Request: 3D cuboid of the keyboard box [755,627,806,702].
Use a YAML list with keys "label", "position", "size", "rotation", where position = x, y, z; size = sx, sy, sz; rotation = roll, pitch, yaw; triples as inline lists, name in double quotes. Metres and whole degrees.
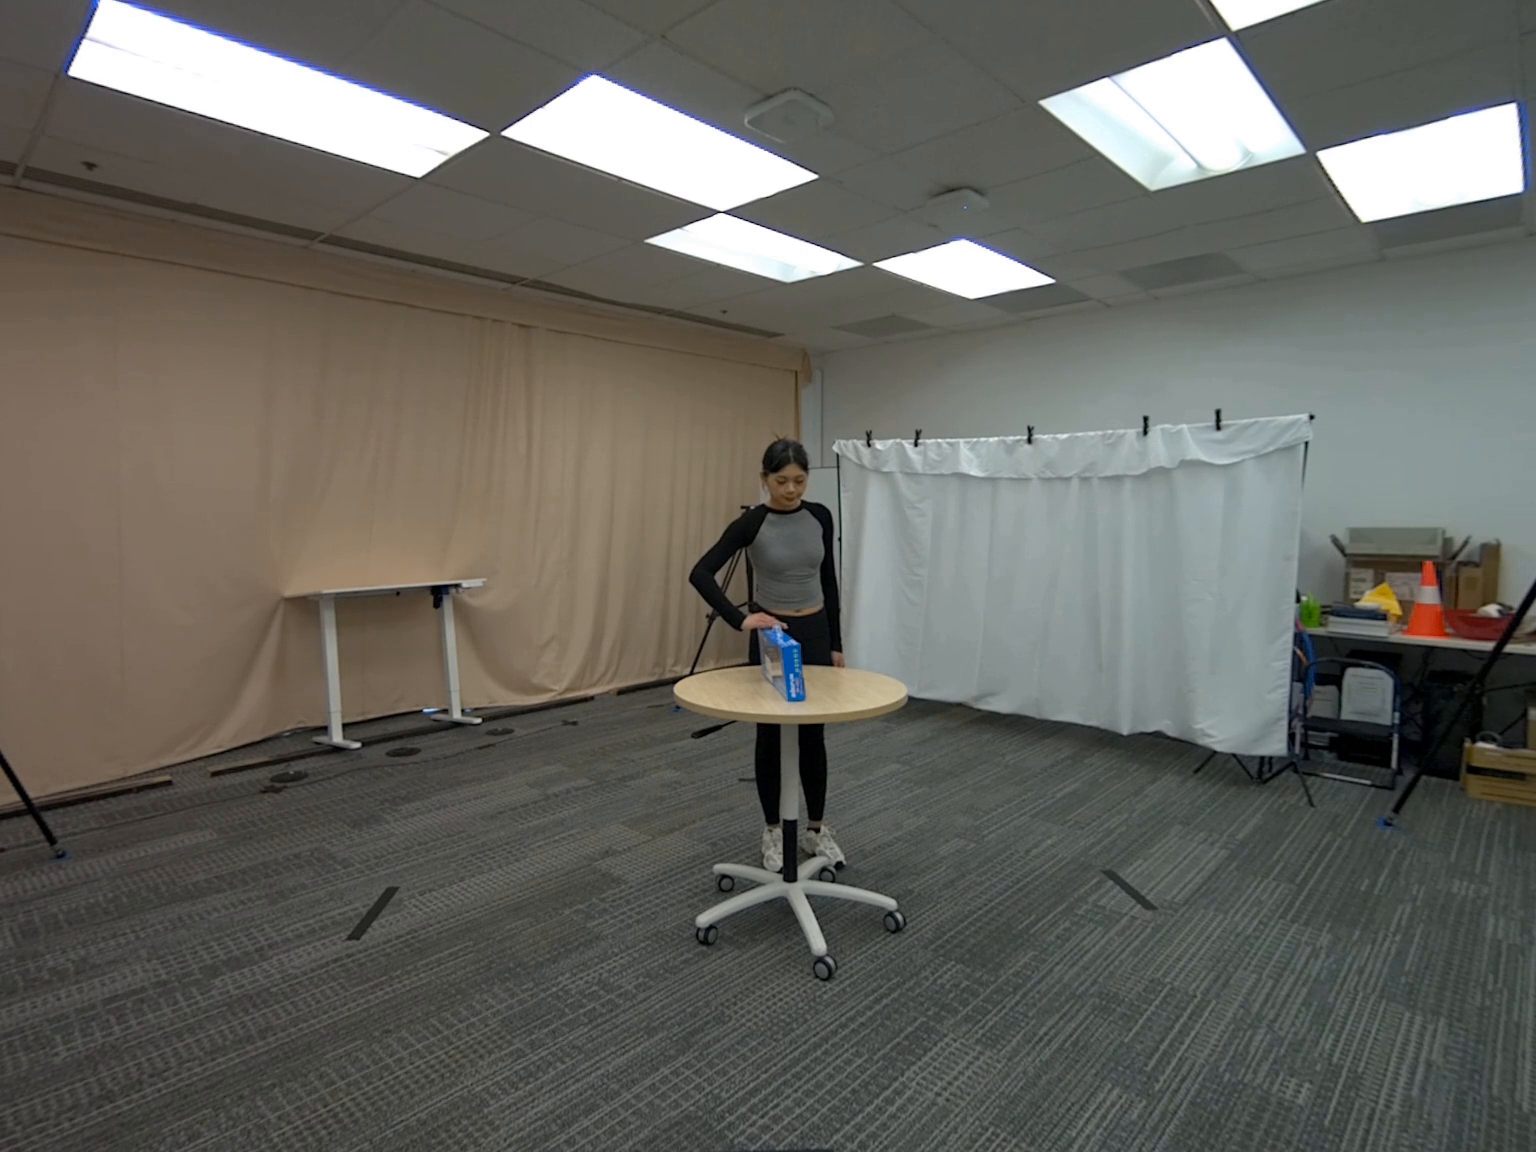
- label: "keyboard box"
  position: [0.042, 0.282, 2.779]
  size: [0.058, 0.175, 0.442]
  rotation: [-5, 5, -9]
